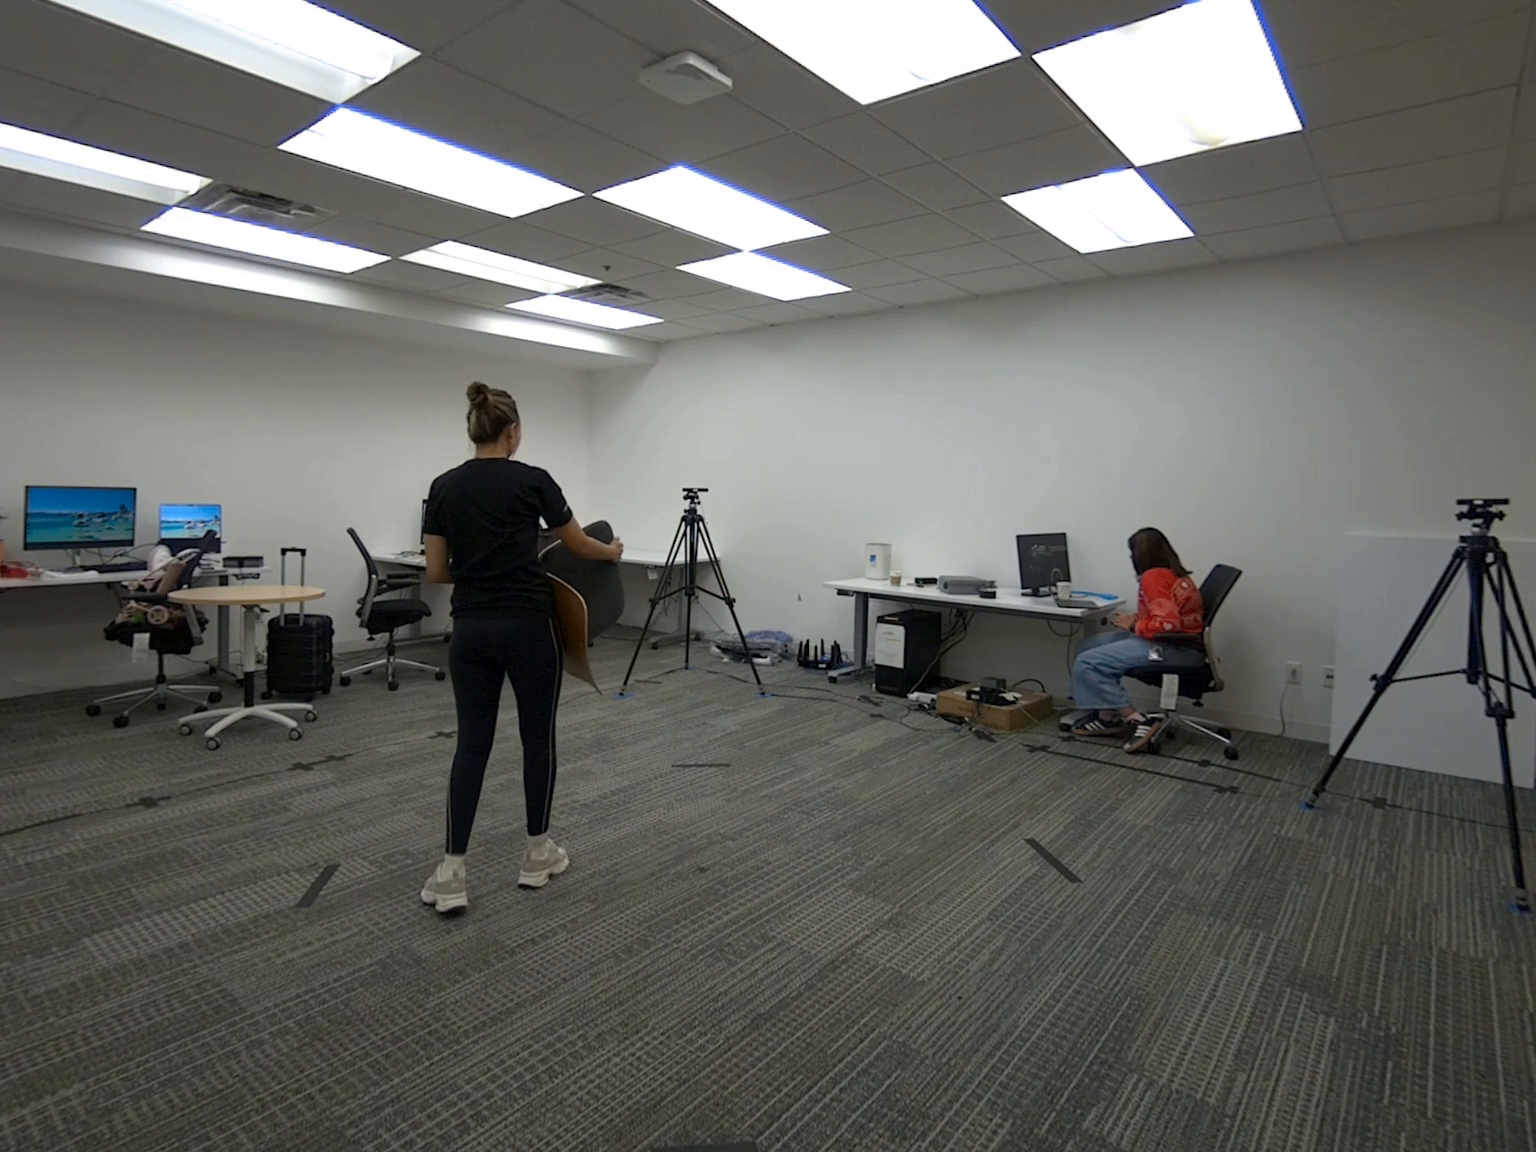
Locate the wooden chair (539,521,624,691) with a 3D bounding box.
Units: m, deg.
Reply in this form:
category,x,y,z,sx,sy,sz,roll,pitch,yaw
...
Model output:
category,x,y,z,sx,sy,sz,roll,pitch,yaw
wooden chair,-0.777,0.059,3.249,0.912,0.465,0.517,20,39,38
